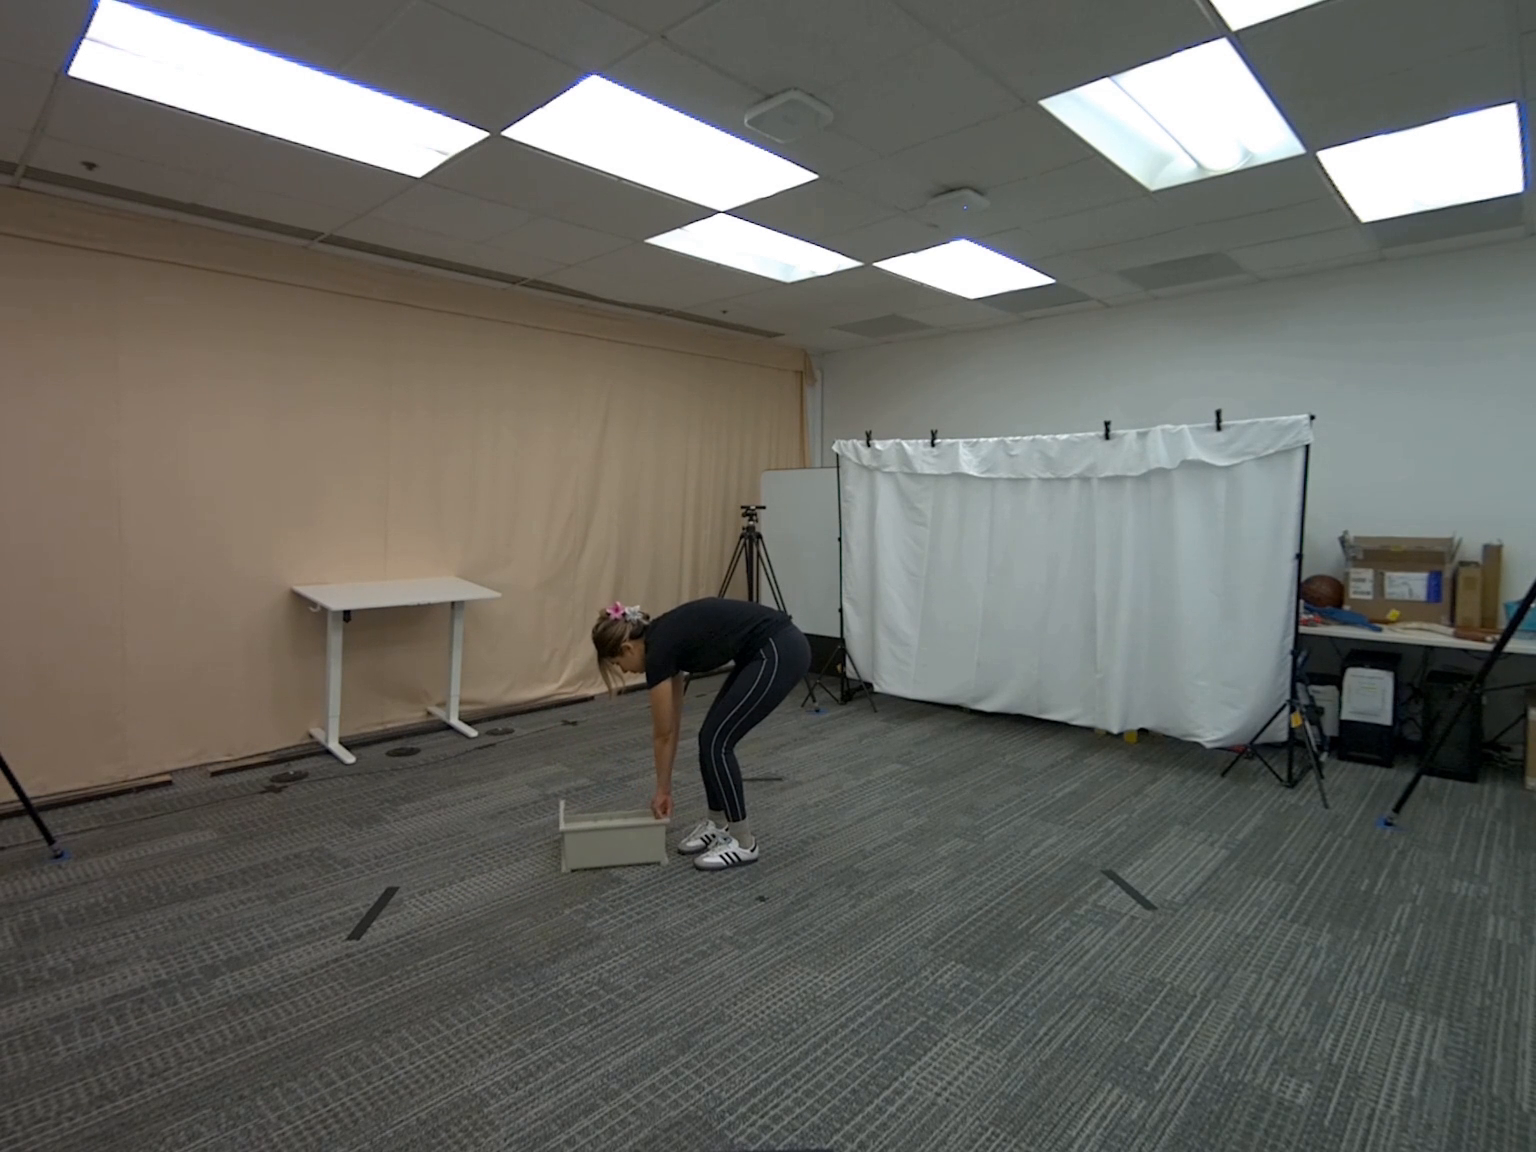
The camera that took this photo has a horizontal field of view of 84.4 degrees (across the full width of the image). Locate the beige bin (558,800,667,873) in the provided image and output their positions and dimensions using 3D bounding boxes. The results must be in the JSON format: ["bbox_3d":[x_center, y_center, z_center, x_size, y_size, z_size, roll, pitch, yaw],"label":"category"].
[{"bbox_3d":[-0.635,1.028,3.417,0.417,0.188,0.383,0,5,-12],"label":"beige bin"}]
